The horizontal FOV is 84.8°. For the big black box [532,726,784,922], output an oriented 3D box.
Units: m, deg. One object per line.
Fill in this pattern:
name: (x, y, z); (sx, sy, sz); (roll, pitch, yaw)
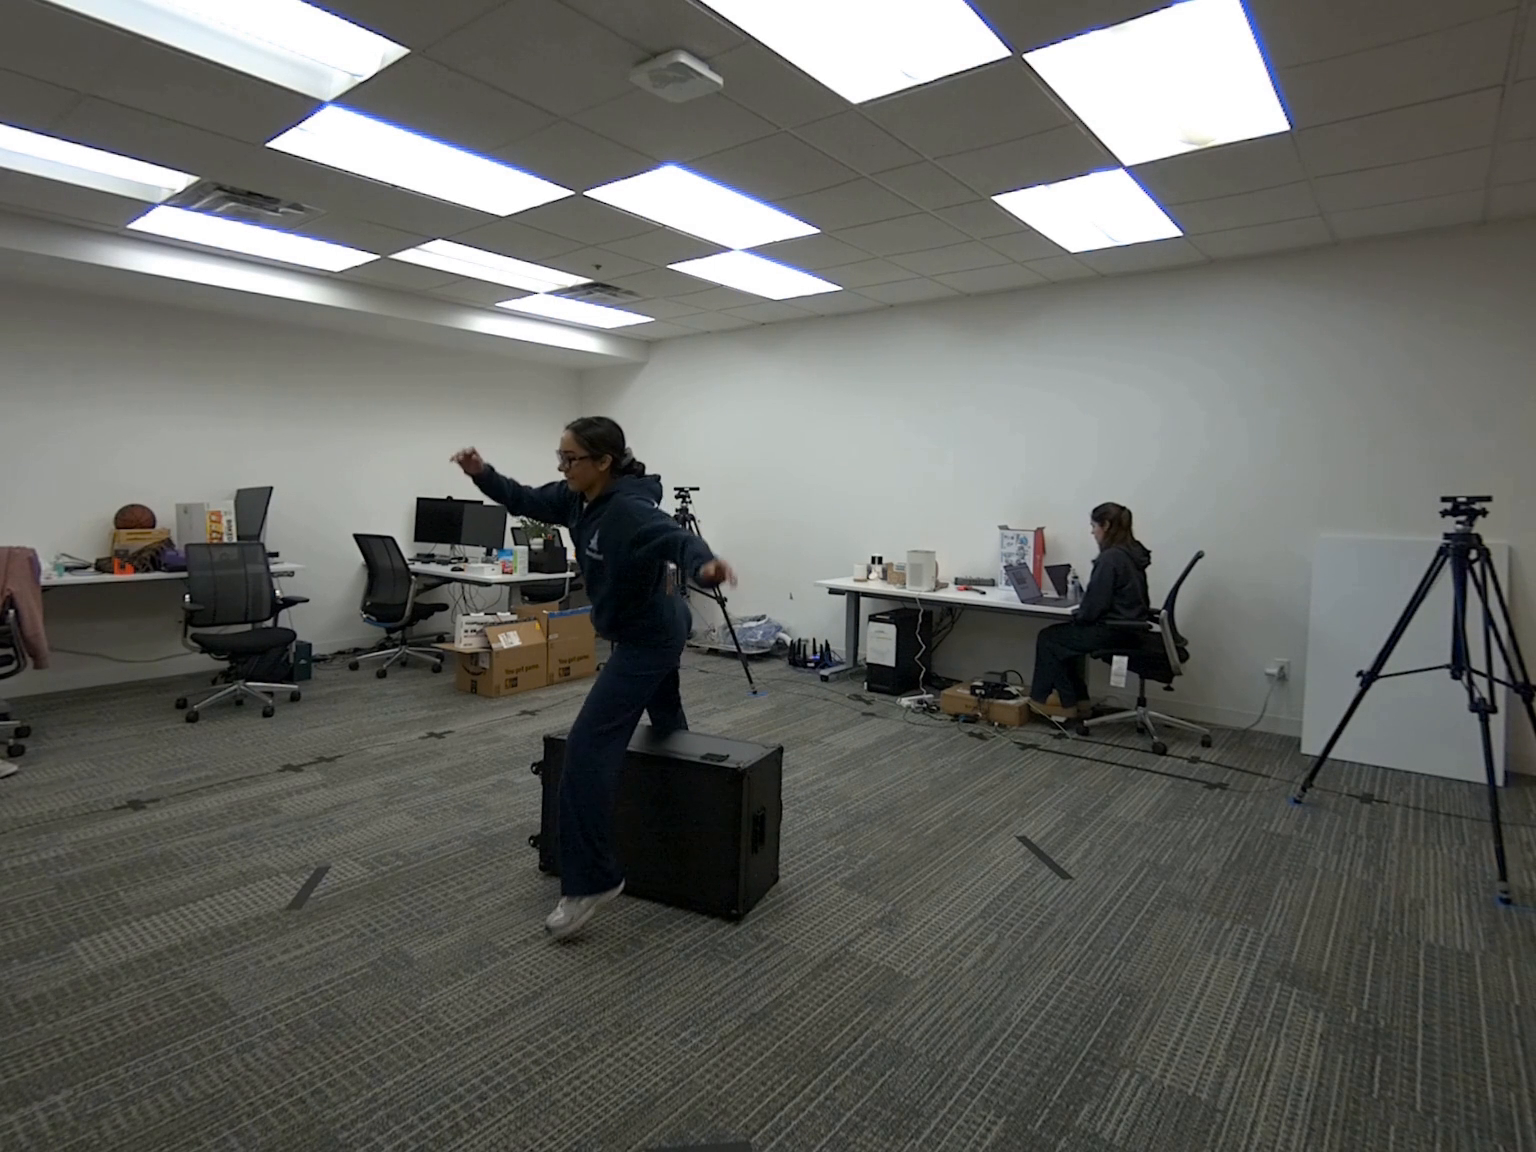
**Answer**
big black box: (-0.414, 0.816, 3.047); (0.883, 0.521, 0.387); (3, 1, 23)
